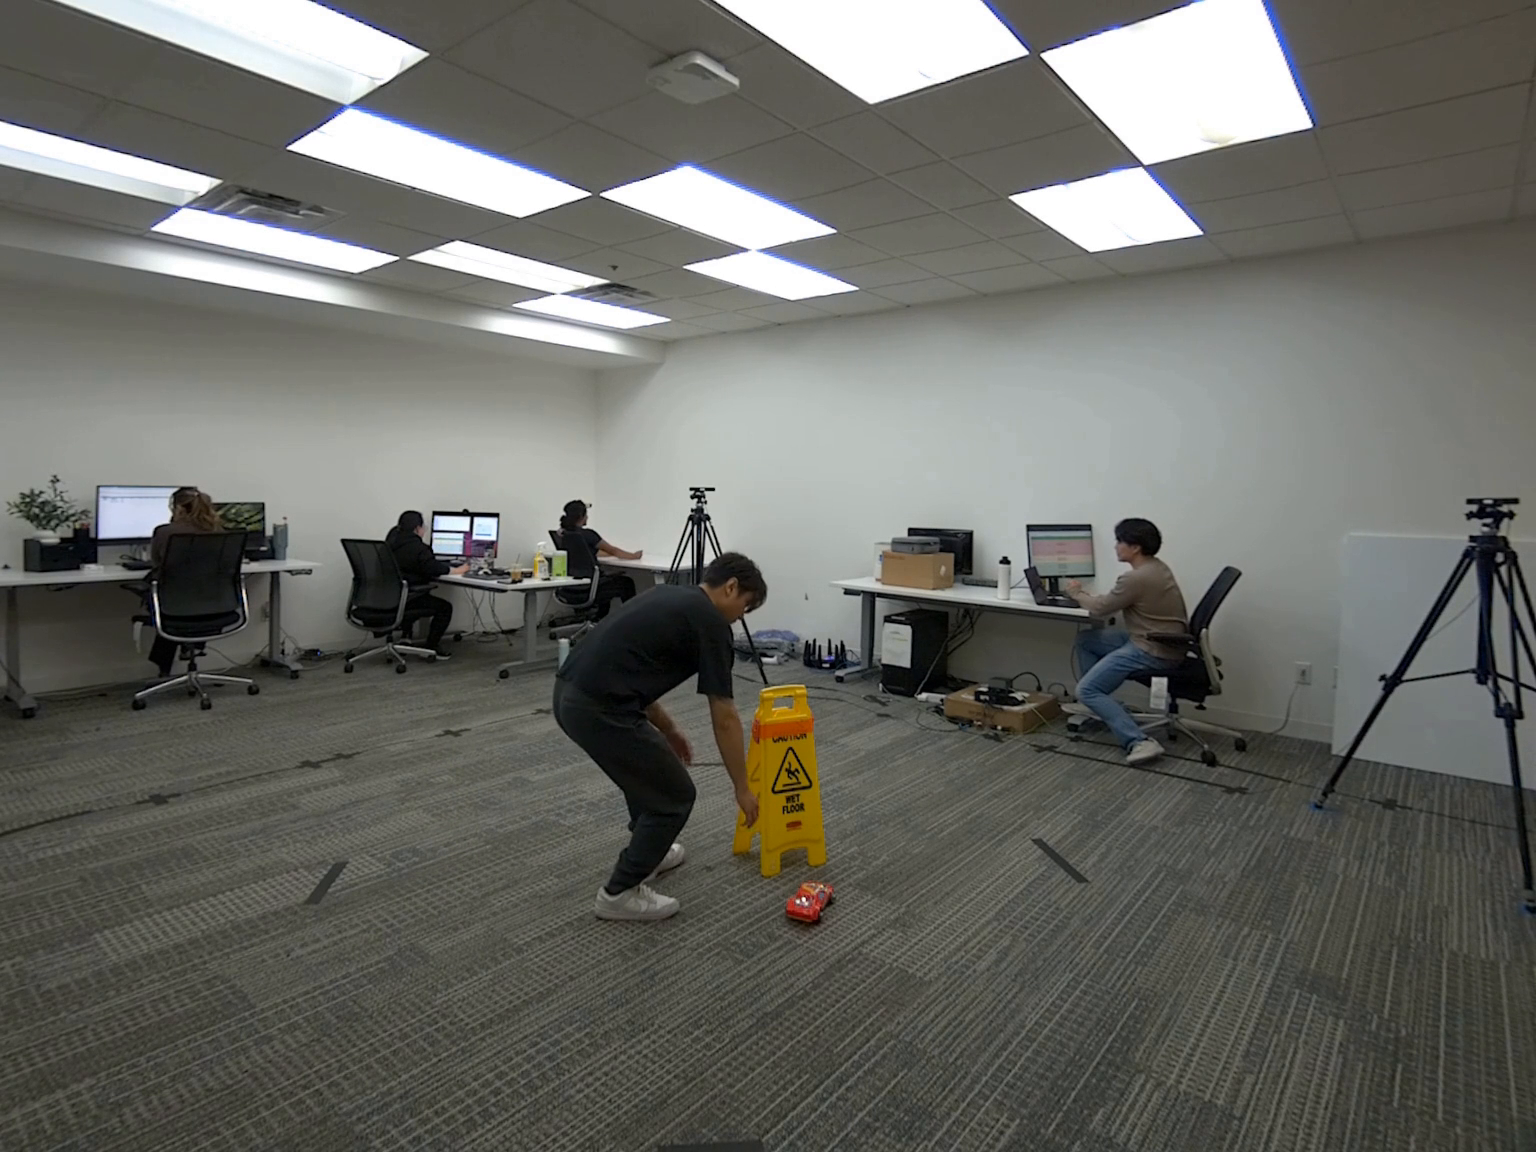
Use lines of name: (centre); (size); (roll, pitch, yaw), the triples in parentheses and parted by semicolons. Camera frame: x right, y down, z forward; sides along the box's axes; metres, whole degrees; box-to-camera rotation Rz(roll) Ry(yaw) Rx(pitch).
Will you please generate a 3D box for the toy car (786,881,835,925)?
toy car: (0.132, 1.075, 2.804); (0.133, 0.083, 0.247); (4, -4, 20)
